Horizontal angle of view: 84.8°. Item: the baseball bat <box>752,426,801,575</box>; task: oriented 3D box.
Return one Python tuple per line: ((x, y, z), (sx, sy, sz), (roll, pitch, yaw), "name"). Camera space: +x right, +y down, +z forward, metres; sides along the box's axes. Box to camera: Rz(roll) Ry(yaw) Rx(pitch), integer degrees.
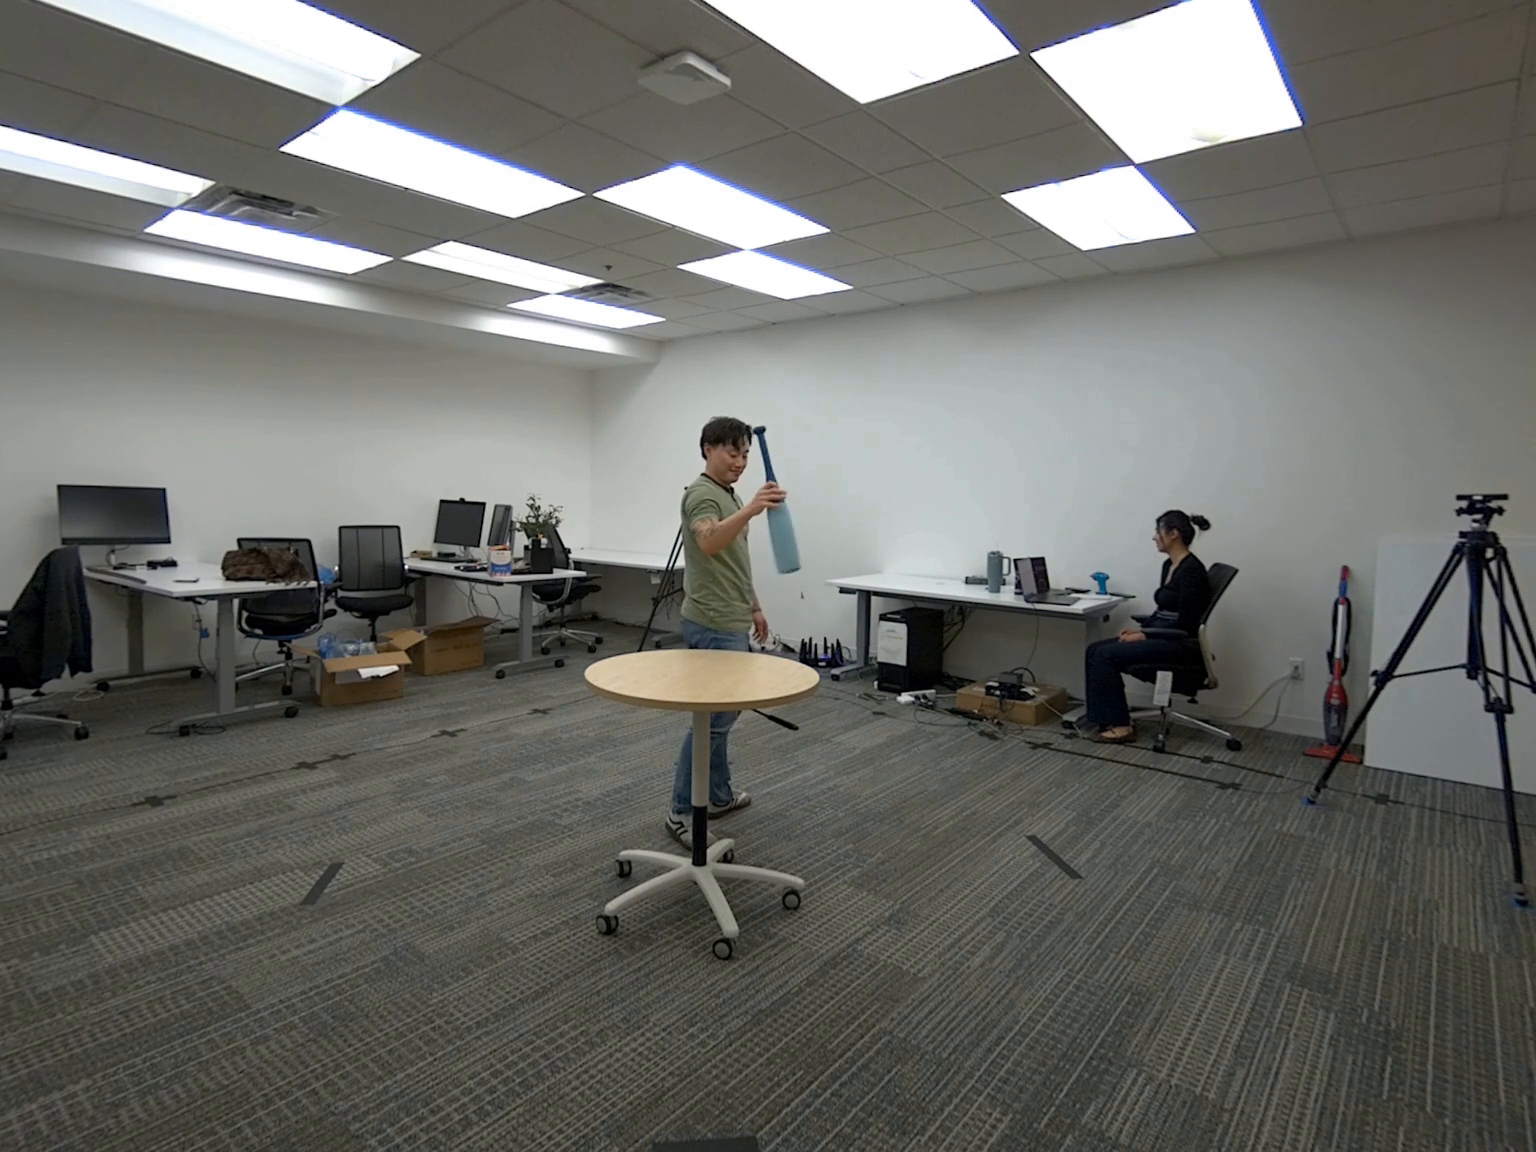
((0.017, -0.276, 3.061), (0.089, 0.547, 0.088), (-12, -7, -3), "baseball bat")
